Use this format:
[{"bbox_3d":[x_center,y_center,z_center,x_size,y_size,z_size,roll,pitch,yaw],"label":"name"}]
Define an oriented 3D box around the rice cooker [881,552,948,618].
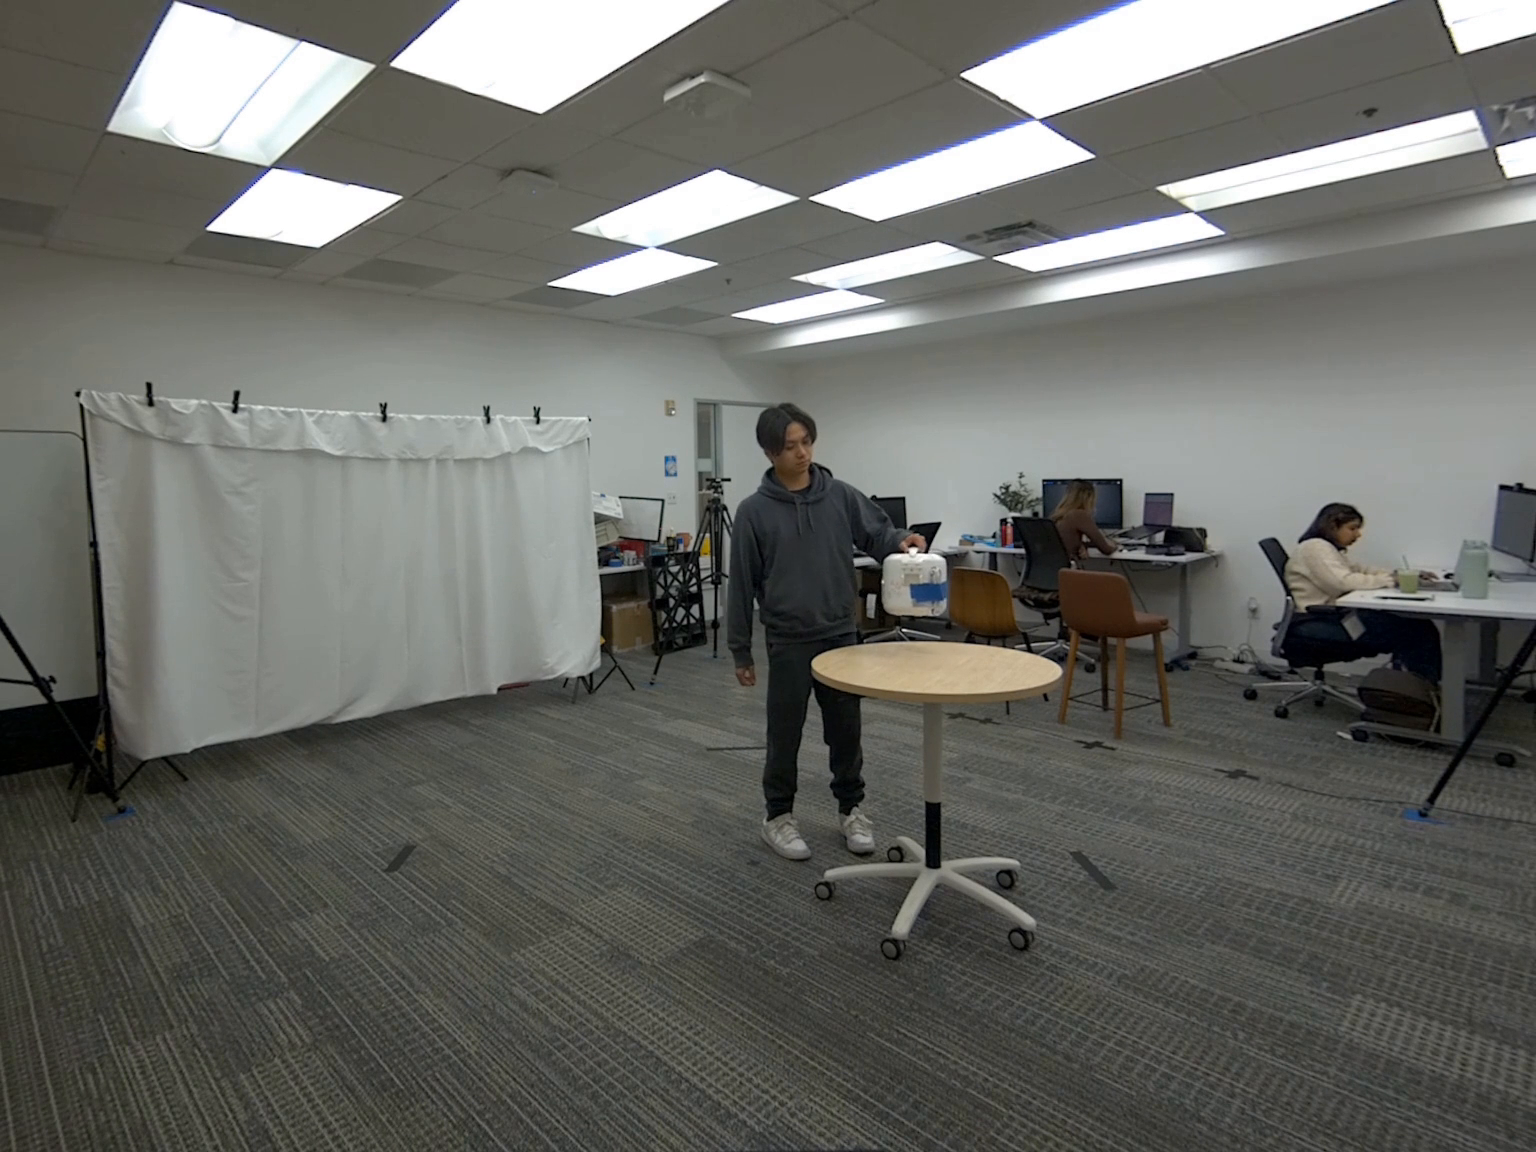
[{"bbox_3d":[0.502,0.020,2.920,0.221,0.233,0.216,0,-2,17],"label":"rice cooker"}]
